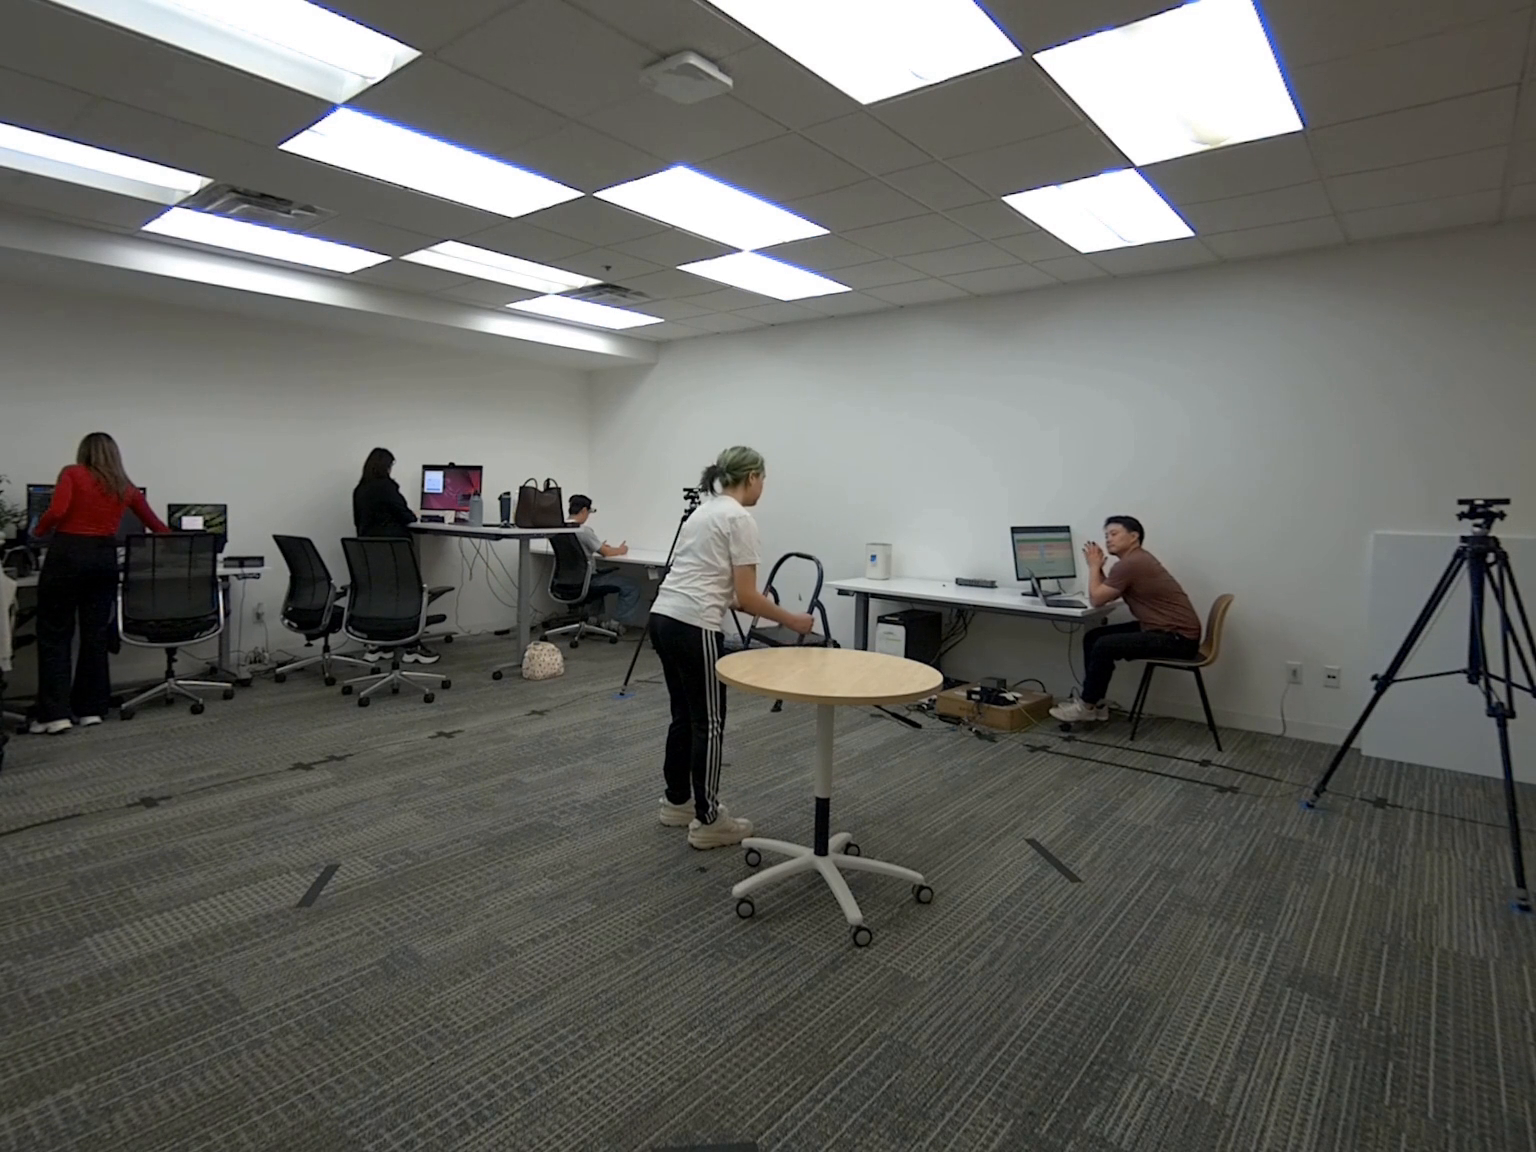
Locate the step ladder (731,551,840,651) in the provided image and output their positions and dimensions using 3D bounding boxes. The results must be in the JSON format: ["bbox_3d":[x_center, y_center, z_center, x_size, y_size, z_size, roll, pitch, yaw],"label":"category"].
[{"bbox_3d":[0.072,0.208,3.637,0.340,0.603,0.444,-1,7,-28],"label":"step ladder"}]
